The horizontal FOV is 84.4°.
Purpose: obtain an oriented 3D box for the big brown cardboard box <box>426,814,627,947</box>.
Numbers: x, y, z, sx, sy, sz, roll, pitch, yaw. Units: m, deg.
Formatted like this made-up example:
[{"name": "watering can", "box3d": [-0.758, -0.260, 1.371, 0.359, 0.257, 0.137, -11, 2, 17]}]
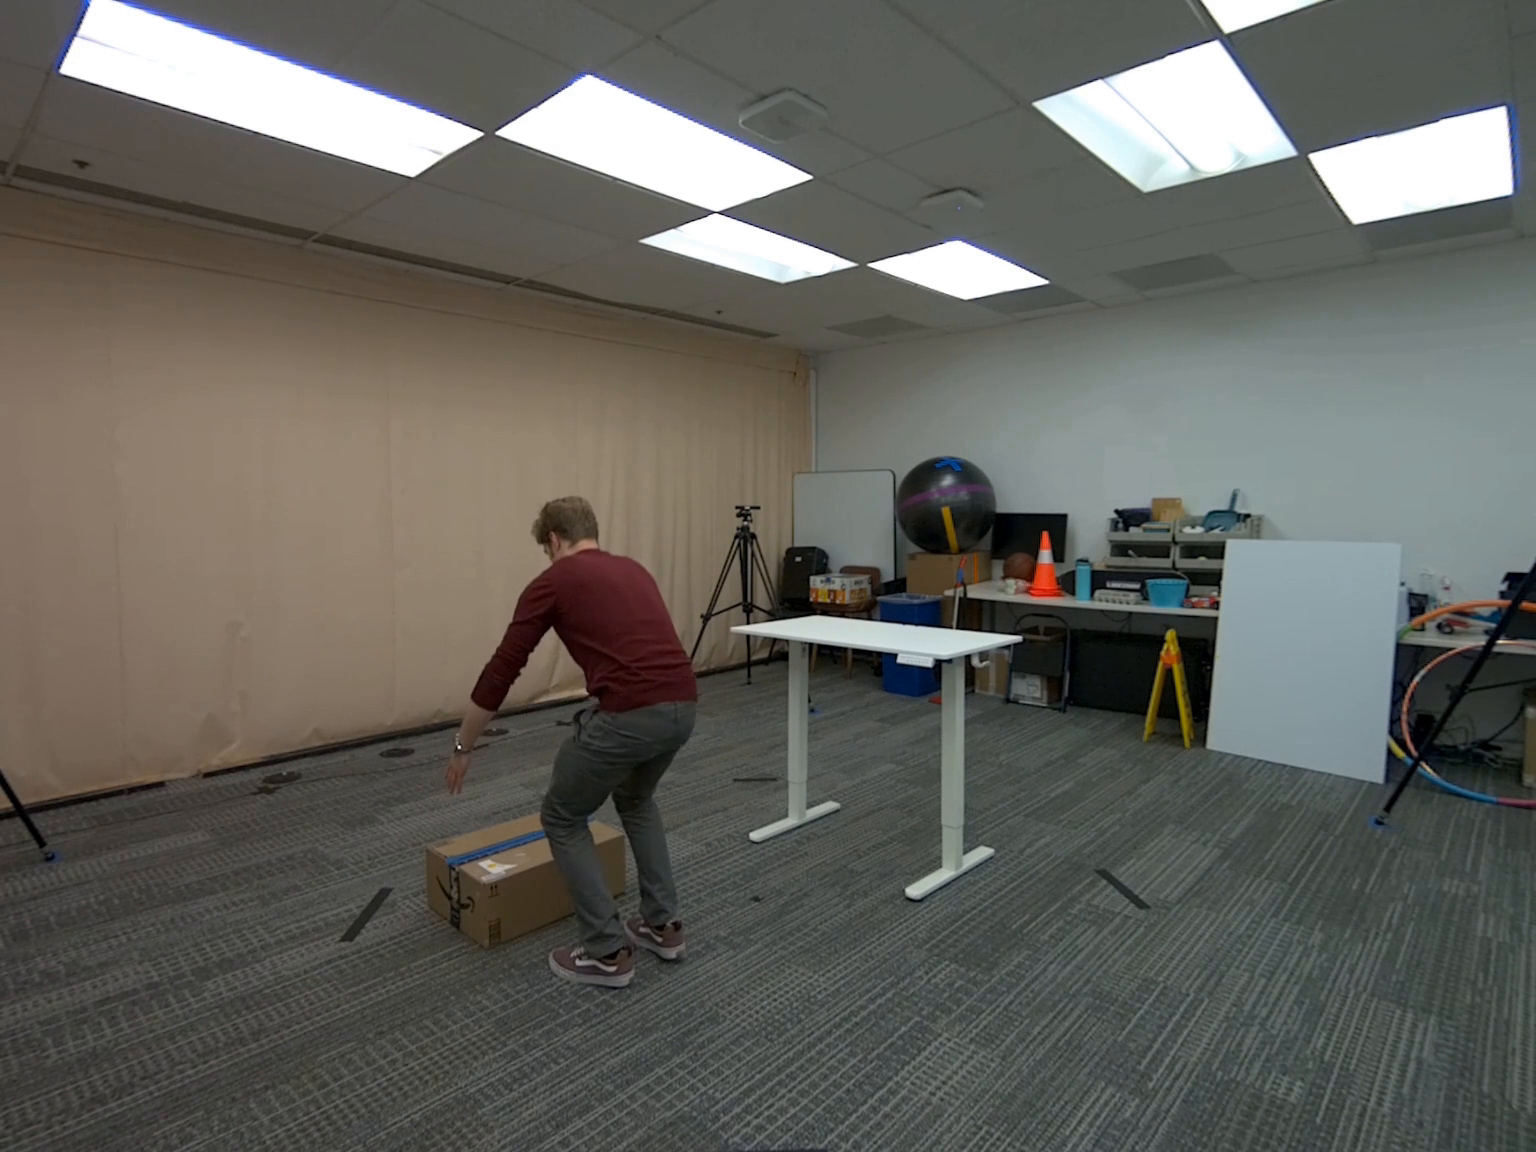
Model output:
[{"name": "big brown cardboard box", "box3d": [-0.858, 1.043, 2.980, 0.431, 0.233, 0.571, 3, 5, 43]}]
